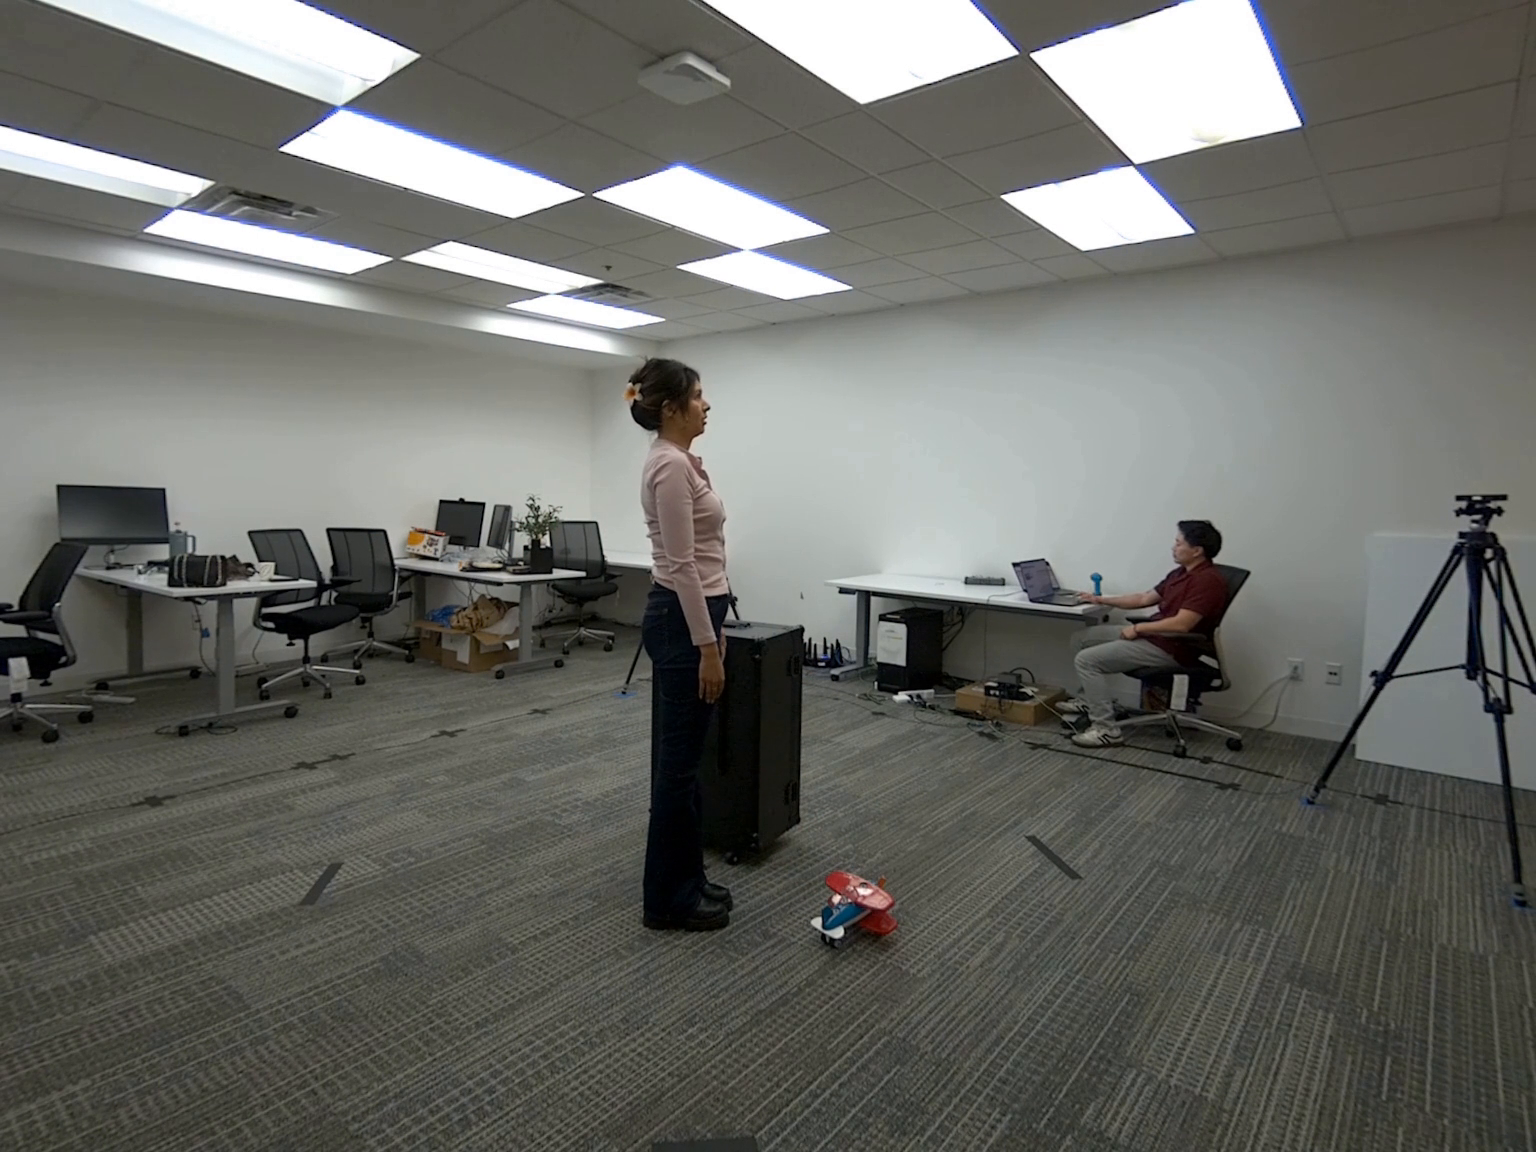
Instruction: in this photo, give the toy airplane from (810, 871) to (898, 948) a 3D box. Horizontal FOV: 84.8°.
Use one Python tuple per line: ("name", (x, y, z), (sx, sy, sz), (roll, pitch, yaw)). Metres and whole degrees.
("toy airplane", (0.271, 1.055, 2.635), (0.257, 0.156, 0.254), (2, 2, 21))
